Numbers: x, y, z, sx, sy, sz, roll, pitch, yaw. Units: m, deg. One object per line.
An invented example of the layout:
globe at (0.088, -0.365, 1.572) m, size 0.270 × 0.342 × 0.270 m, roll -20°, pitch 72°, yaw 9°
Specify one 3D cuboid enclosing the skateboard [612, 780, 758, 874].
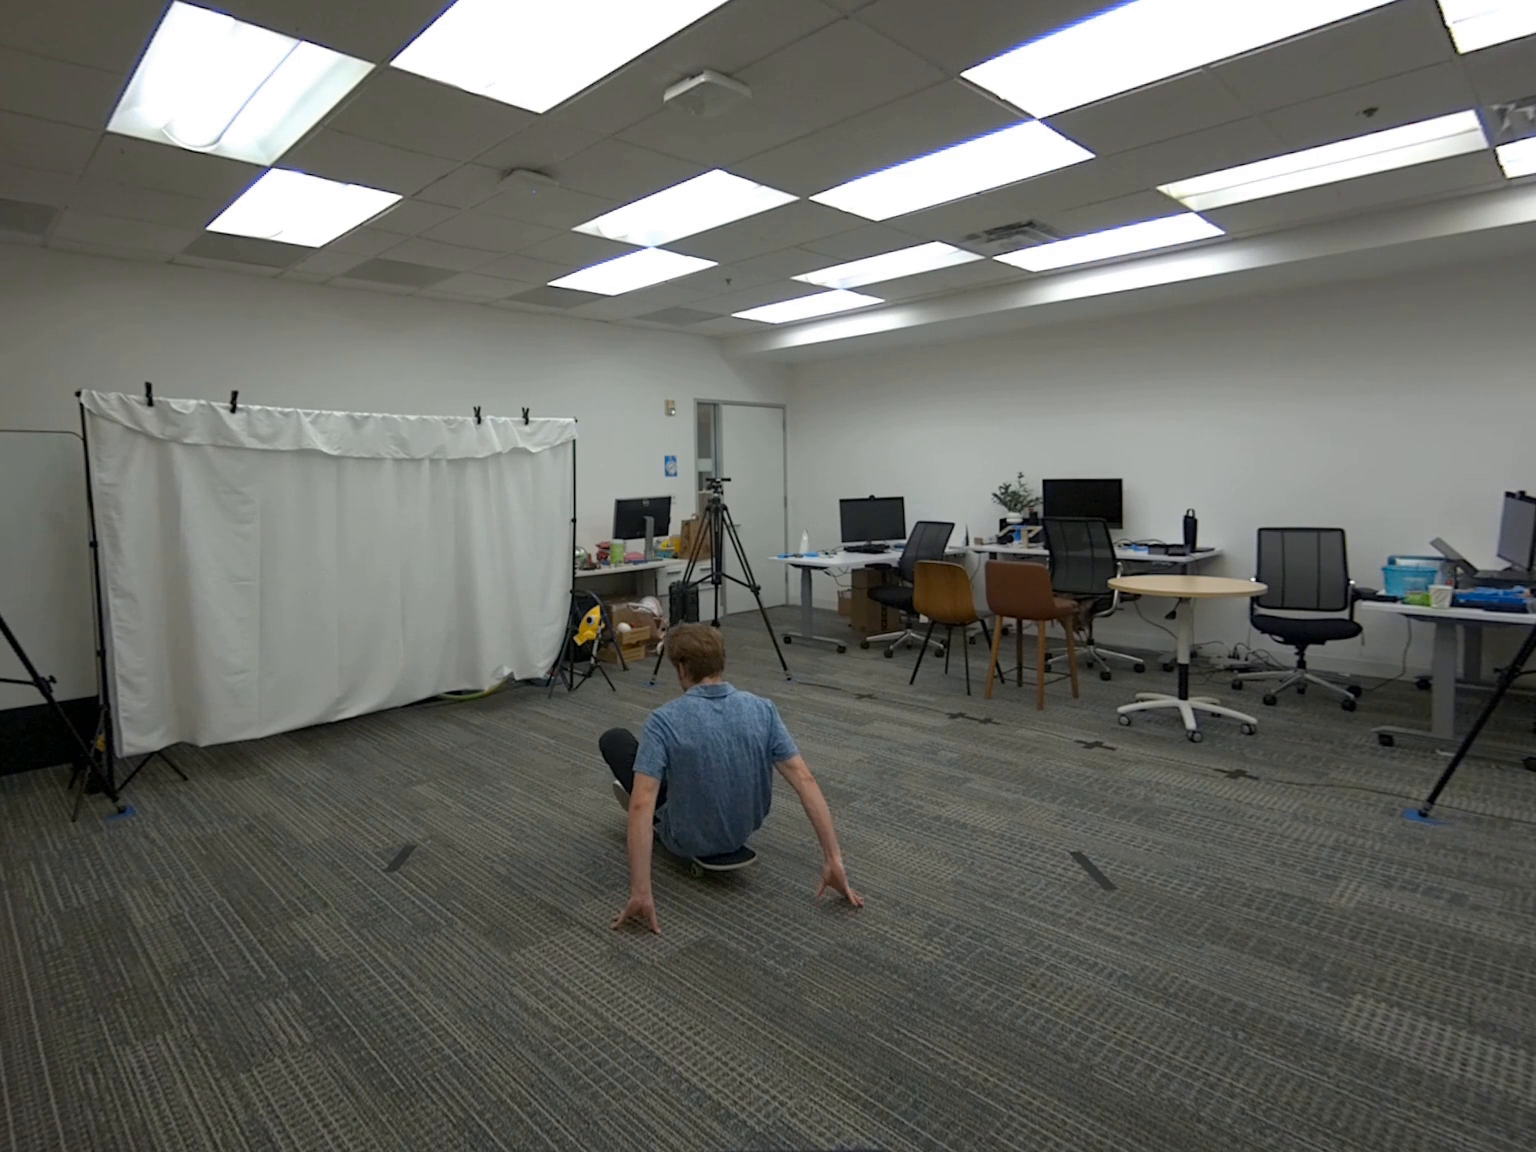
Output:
skateboard at (-0.307, 0.988, 3.205) m, size 0.189 × 0.109 × 0.809 m, roll -7°, pitch 10°, yaw -35°
